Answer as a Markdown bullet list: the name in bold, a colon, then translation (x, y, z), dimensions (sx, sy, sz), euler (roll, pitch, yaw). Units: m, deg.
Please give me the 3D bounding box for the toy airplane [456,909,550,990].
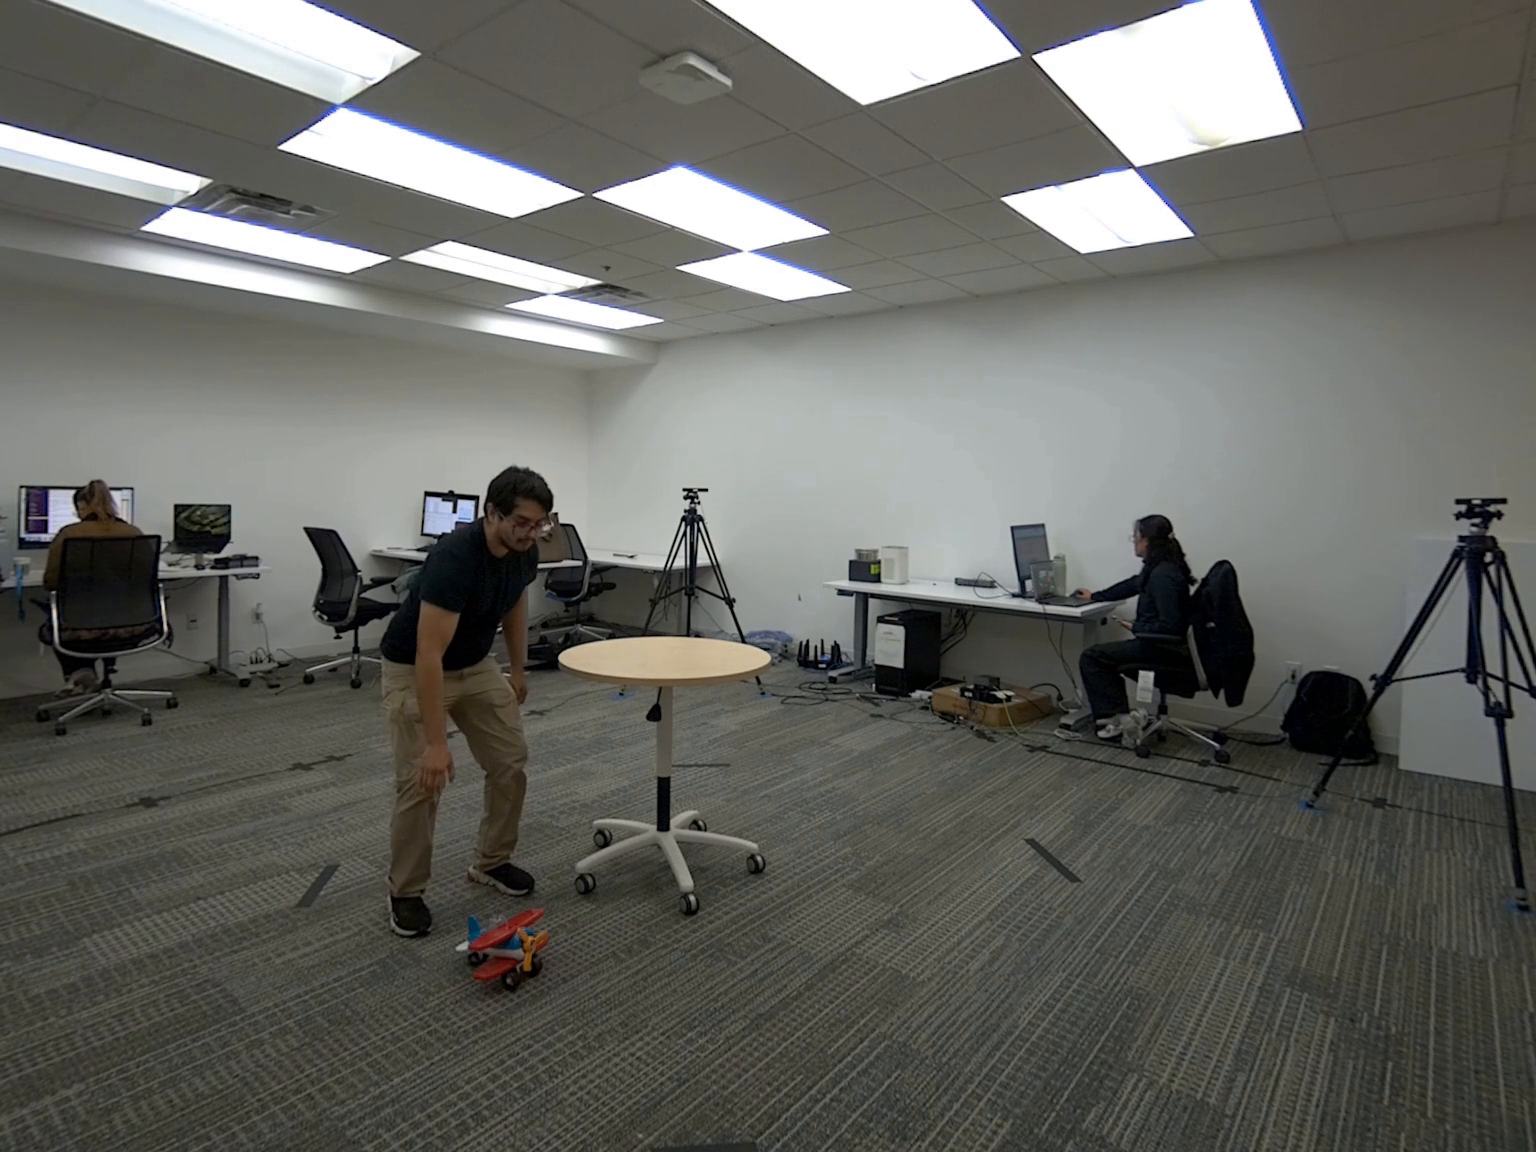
- **toy airplane**: translation (-0.778, 1.057, 2.406), dimensions (0.260, 0.156, 0.251), euler (3, 5, 2)
